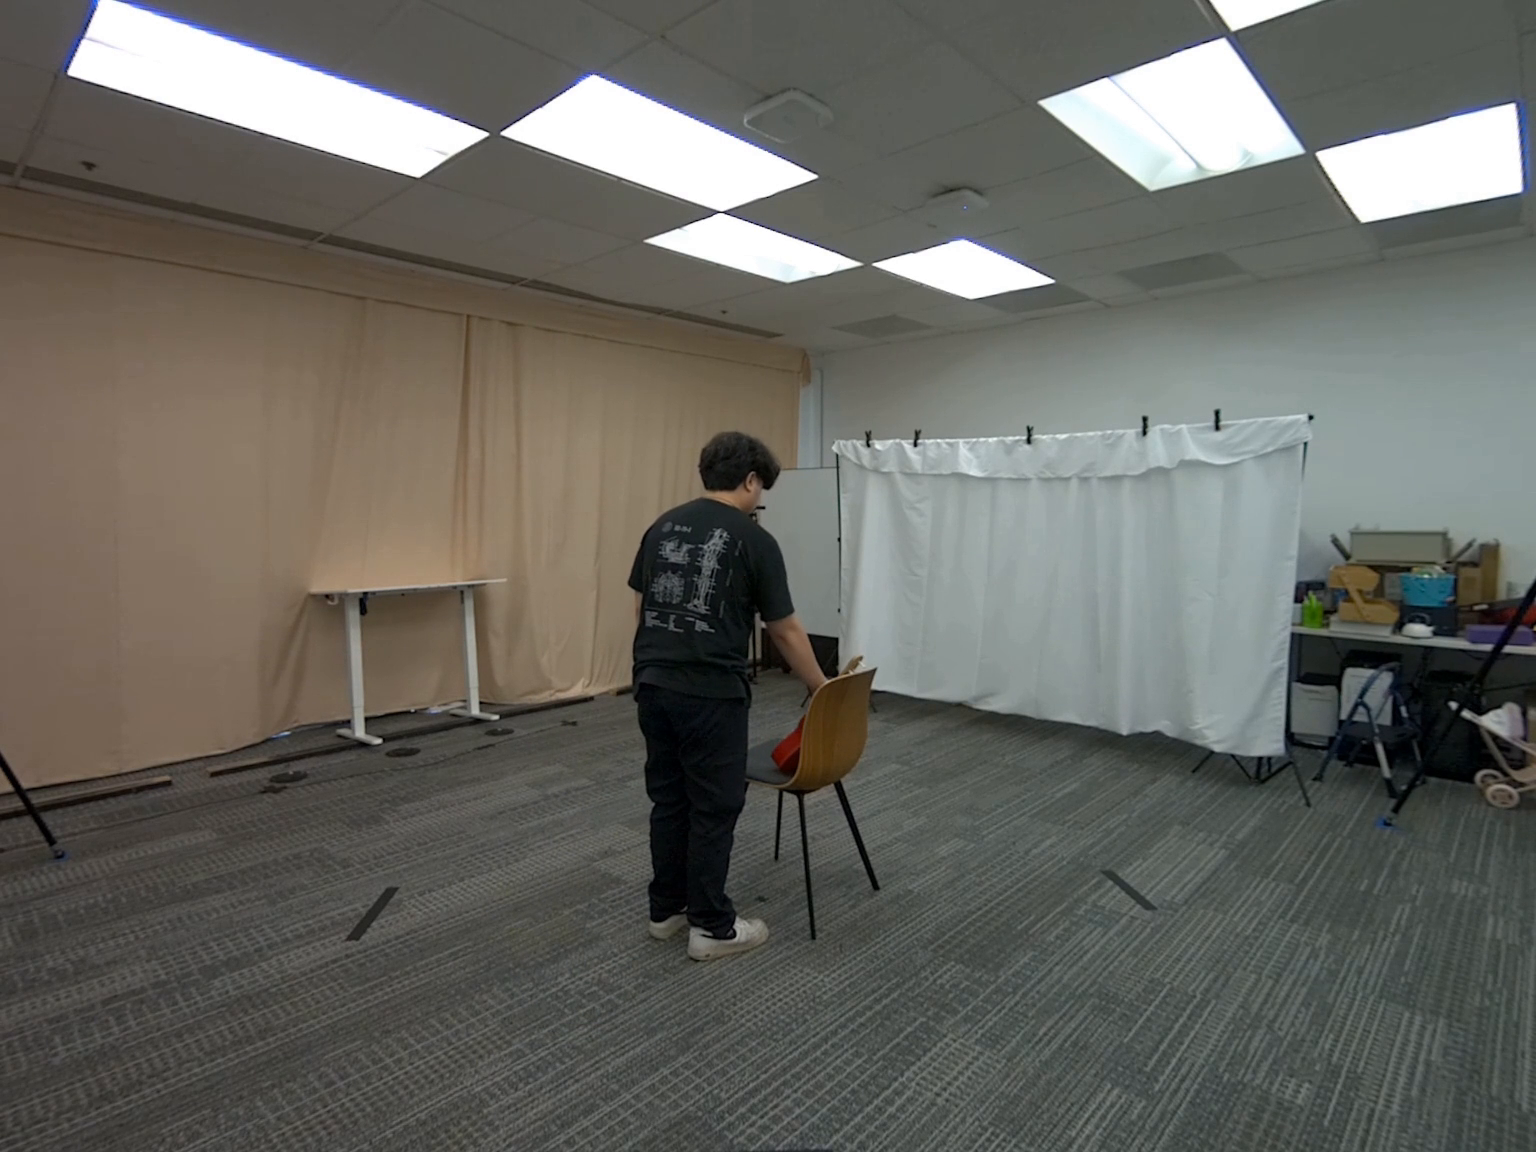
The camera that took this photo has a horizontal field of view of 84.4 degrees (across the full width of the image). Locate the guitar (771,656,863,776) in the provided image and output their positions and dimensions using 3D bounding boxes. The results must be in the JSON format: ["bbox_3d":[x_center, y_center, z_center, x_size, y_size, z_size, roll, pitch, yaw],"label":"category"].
[{"bbox_3d":[0.180,0.473,2.854,0.187,0.497,0.073,-6,44,-49],"label":"guitar"}]
